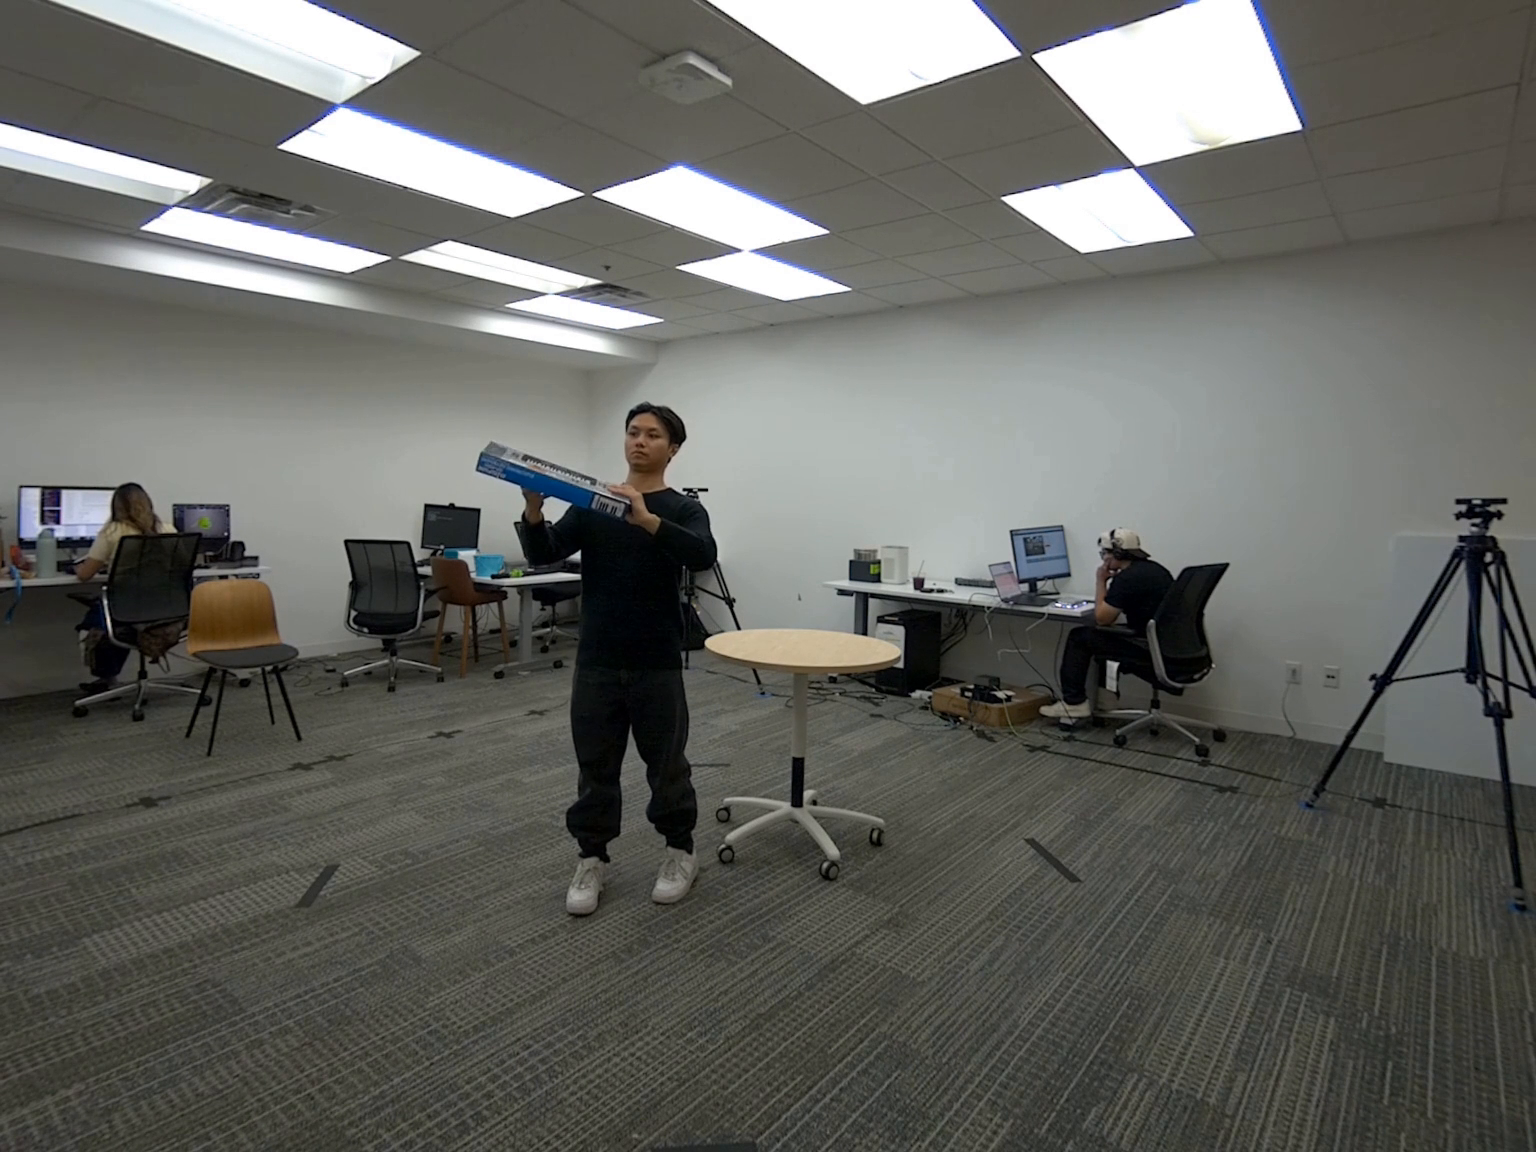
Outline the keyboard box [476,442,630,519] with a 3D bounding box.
[{"bbox_3d":[-0.639,-0.279,2.479,0.432,0.058,0.179,19,16,-9],"label":"keyboard box"}]
